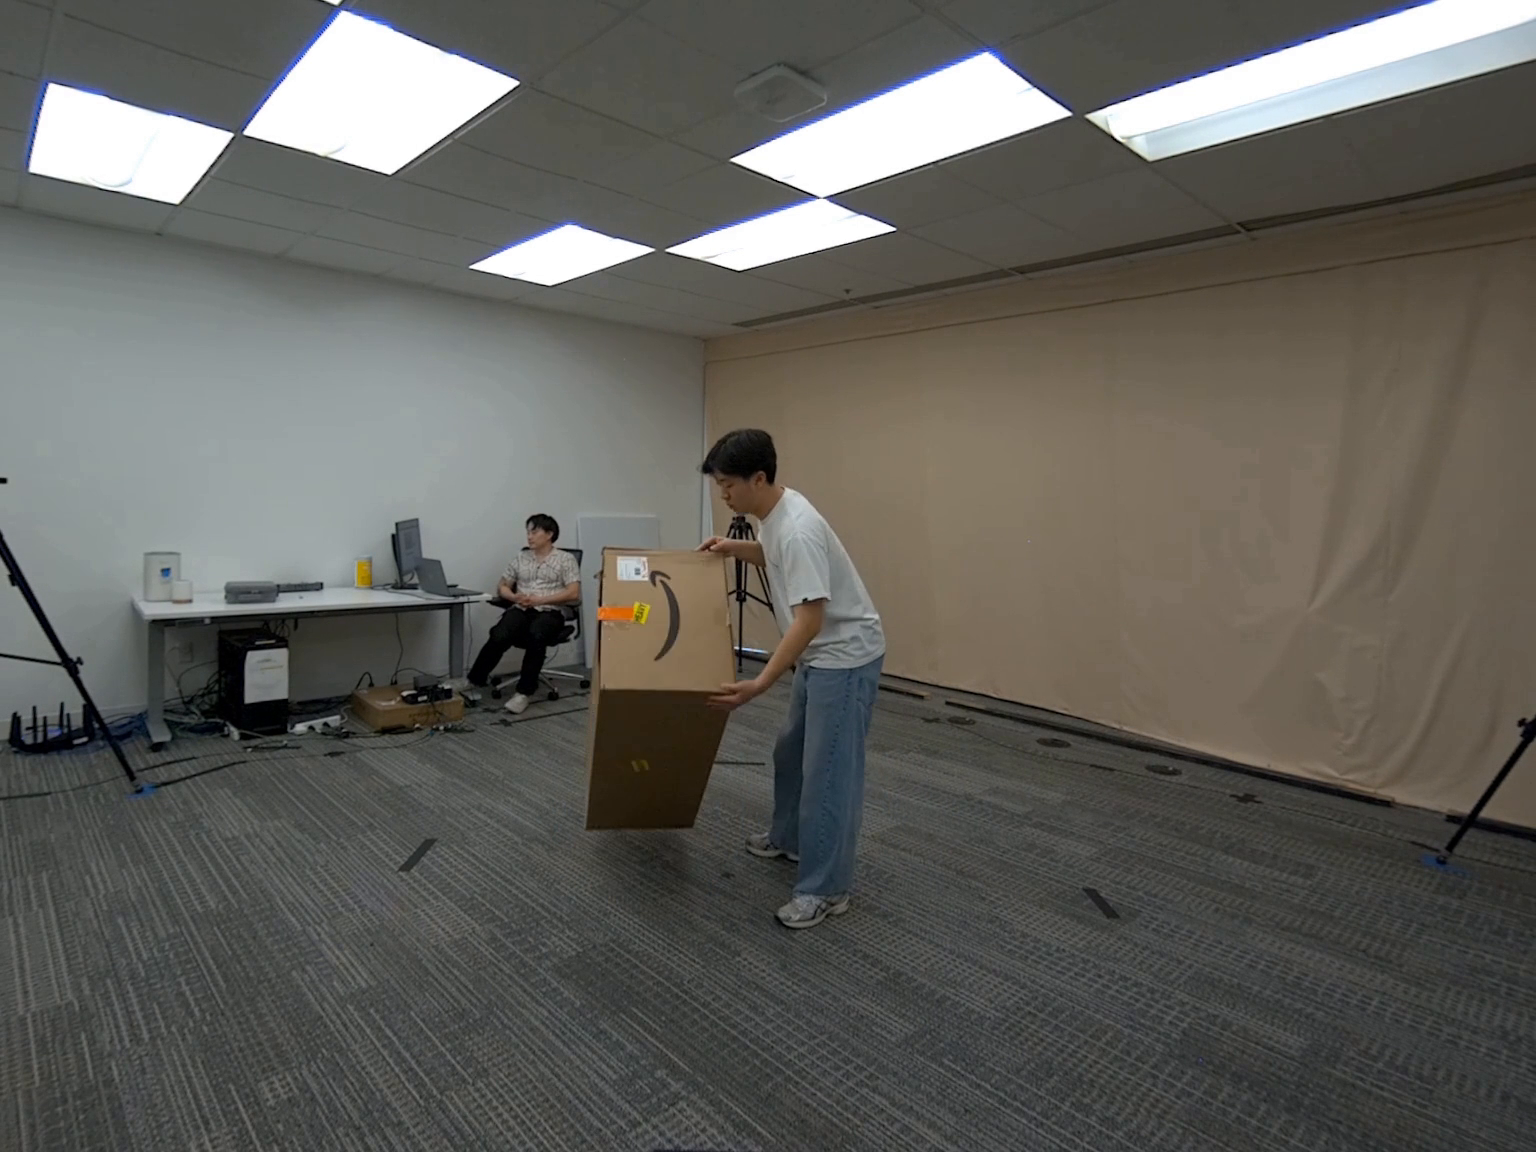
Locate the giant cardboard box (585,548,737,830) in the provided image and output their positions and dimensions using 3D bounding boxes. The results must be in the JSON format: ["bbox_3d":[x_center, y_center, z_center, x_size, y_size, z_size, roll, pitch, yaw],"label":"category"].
[{"bbox_3d":[-0.437,0.461,3.106,0.422,0.592,1.011,3,-41,-13],"label":"giant cardboard box"}]
